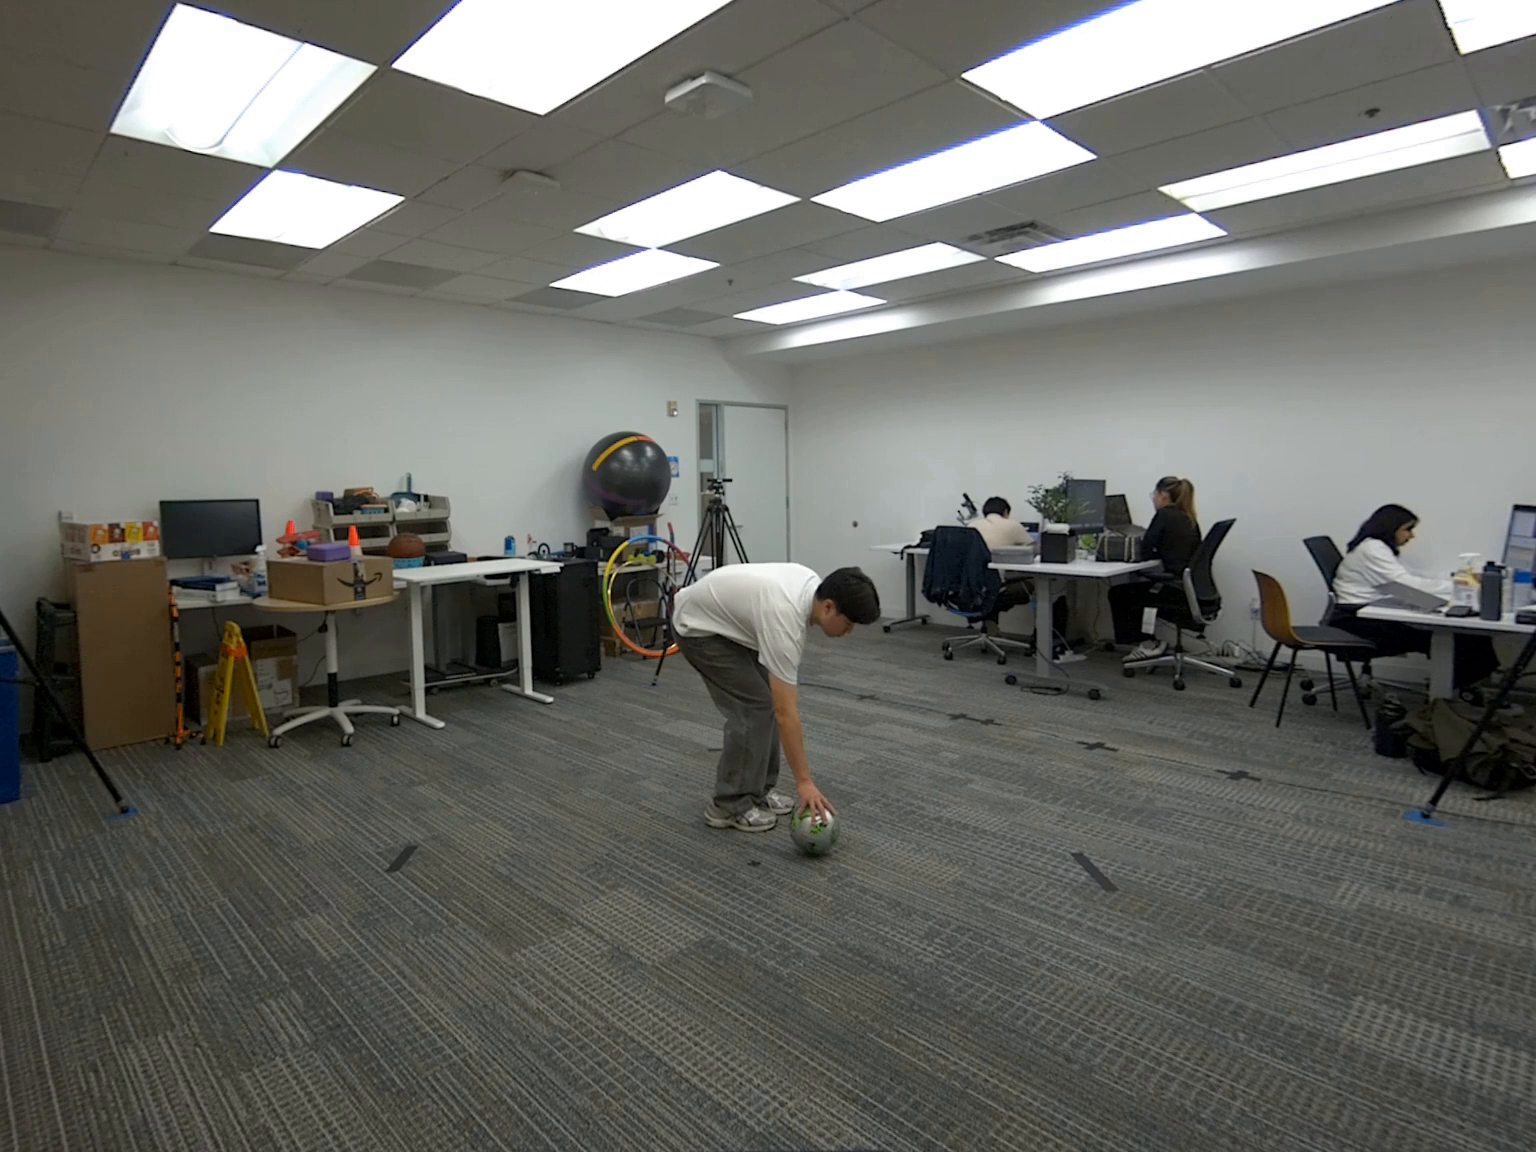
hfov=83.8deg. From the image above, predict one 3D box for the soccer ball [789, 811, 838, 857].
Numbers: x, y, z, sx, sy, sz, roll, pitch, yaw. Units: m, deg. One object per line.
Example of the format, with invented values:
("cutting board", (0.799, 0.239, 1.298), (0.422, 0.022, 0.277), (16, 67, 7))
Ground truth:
("soccer ball", (0.176, 0.914, 3.178), (0.187, 0.187, 0.188), (-1, 5, -2))
